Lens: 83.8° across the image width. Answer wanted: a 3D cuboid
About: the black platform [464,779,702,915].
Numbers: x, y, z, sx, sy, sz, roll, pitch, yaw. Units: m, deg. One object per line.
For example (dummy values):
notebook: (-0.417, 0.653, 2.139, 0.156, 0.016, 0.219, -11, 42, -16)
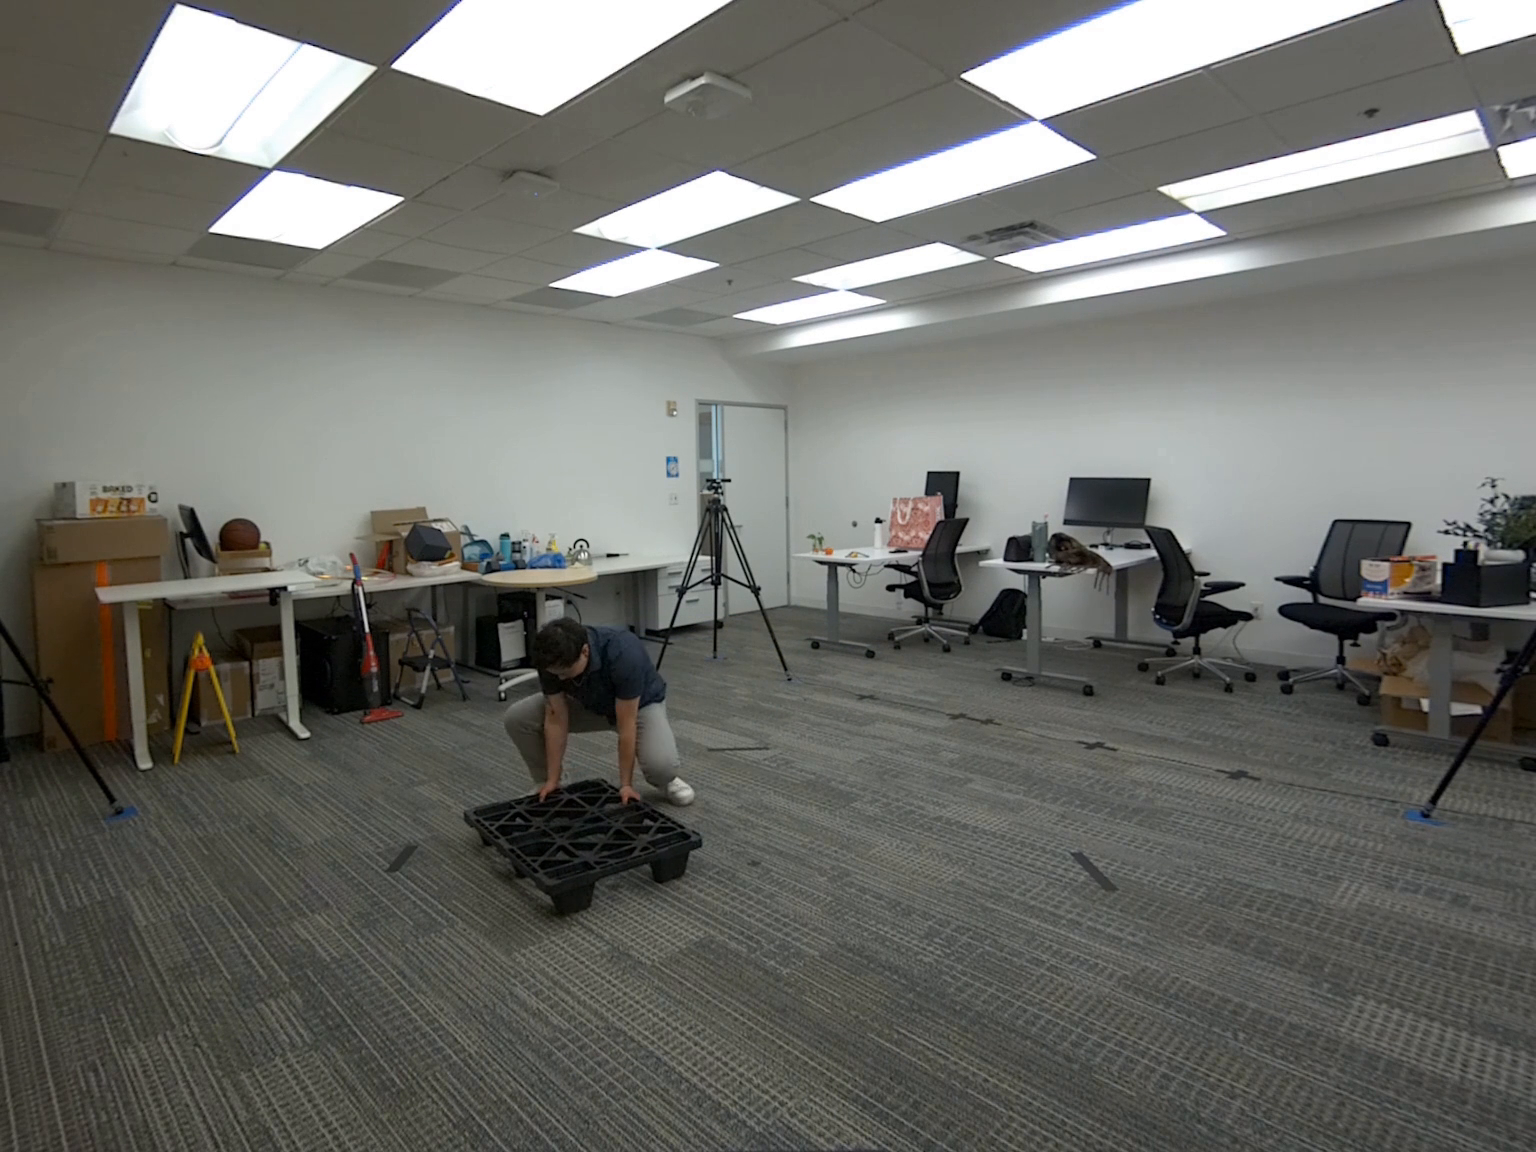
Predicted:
black platform: (-0.707, 0.986, 3.164, 0.590, 0.143, 0.829, -7, 8, -37)
